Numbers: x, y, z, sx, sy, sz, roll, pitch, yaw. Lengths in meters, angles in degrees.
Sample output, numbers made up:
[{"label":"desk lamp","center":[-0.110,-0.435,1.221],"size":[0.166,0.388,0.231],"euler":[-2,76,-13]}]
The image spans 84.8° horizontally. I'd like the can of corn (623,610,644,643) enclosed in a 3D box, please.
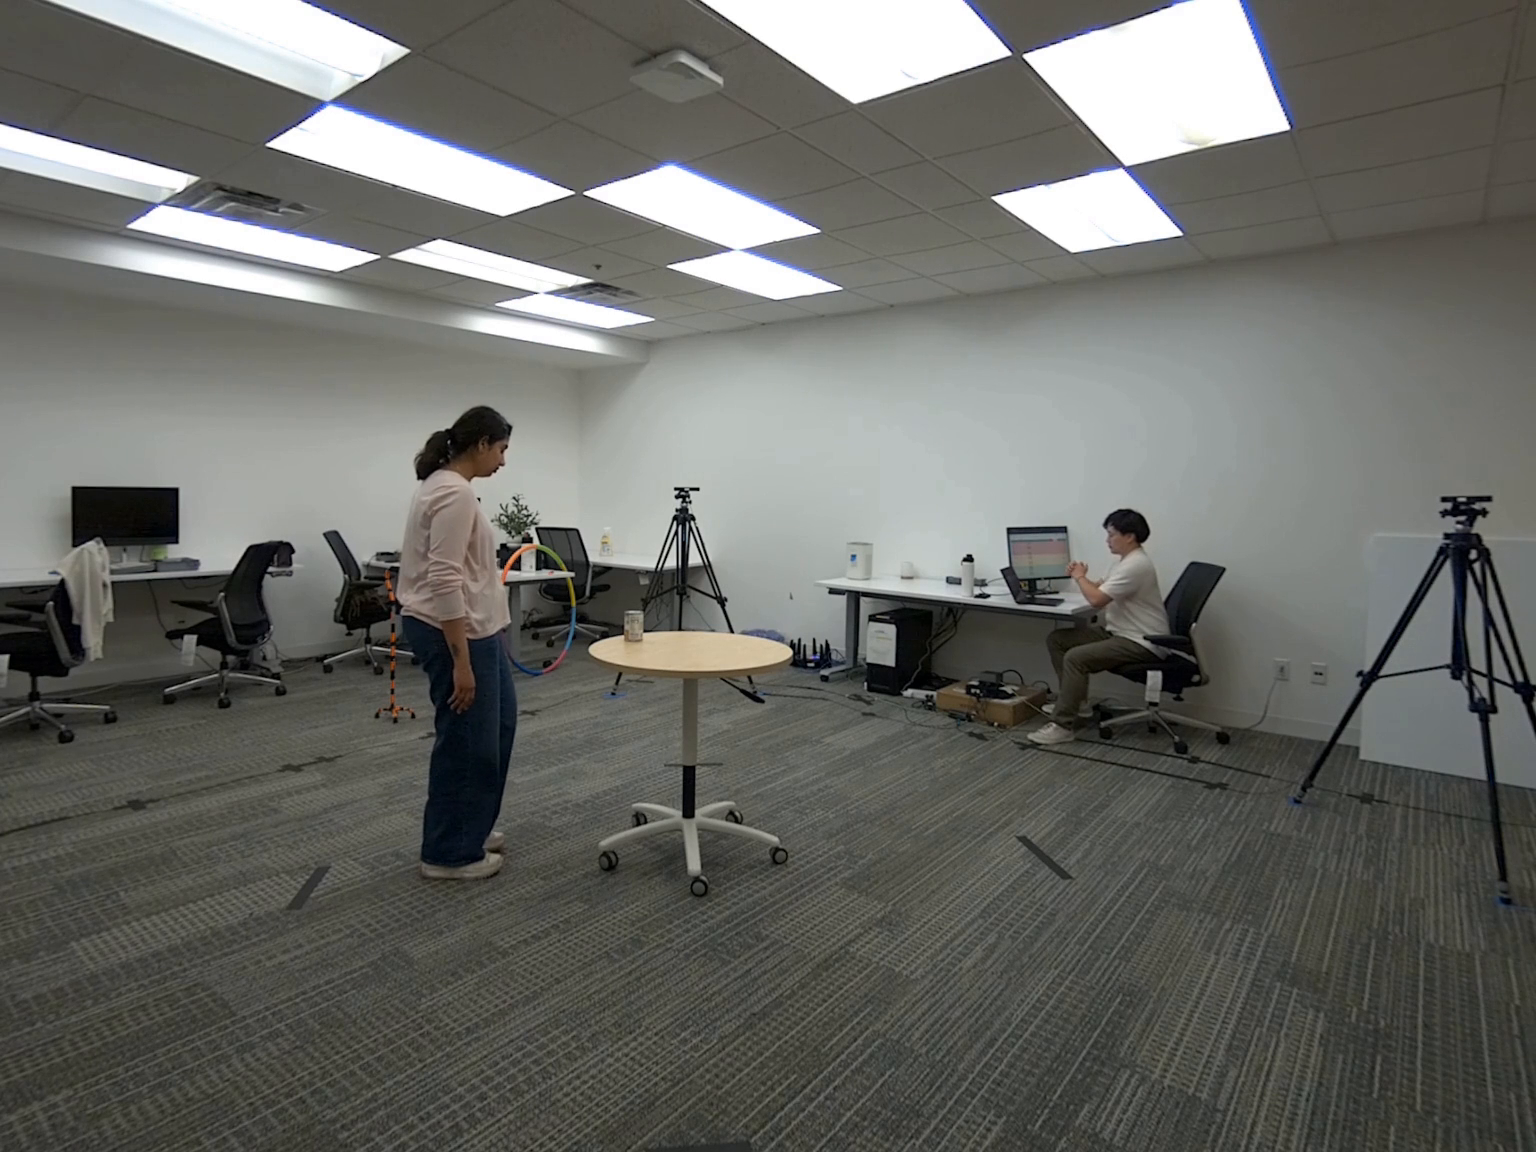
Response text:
[{"label":"can of corn","center":[-0.546,0.196,3.353],"size":[0.074,0.110,0.074],"euler":[2,4,-2]}]
